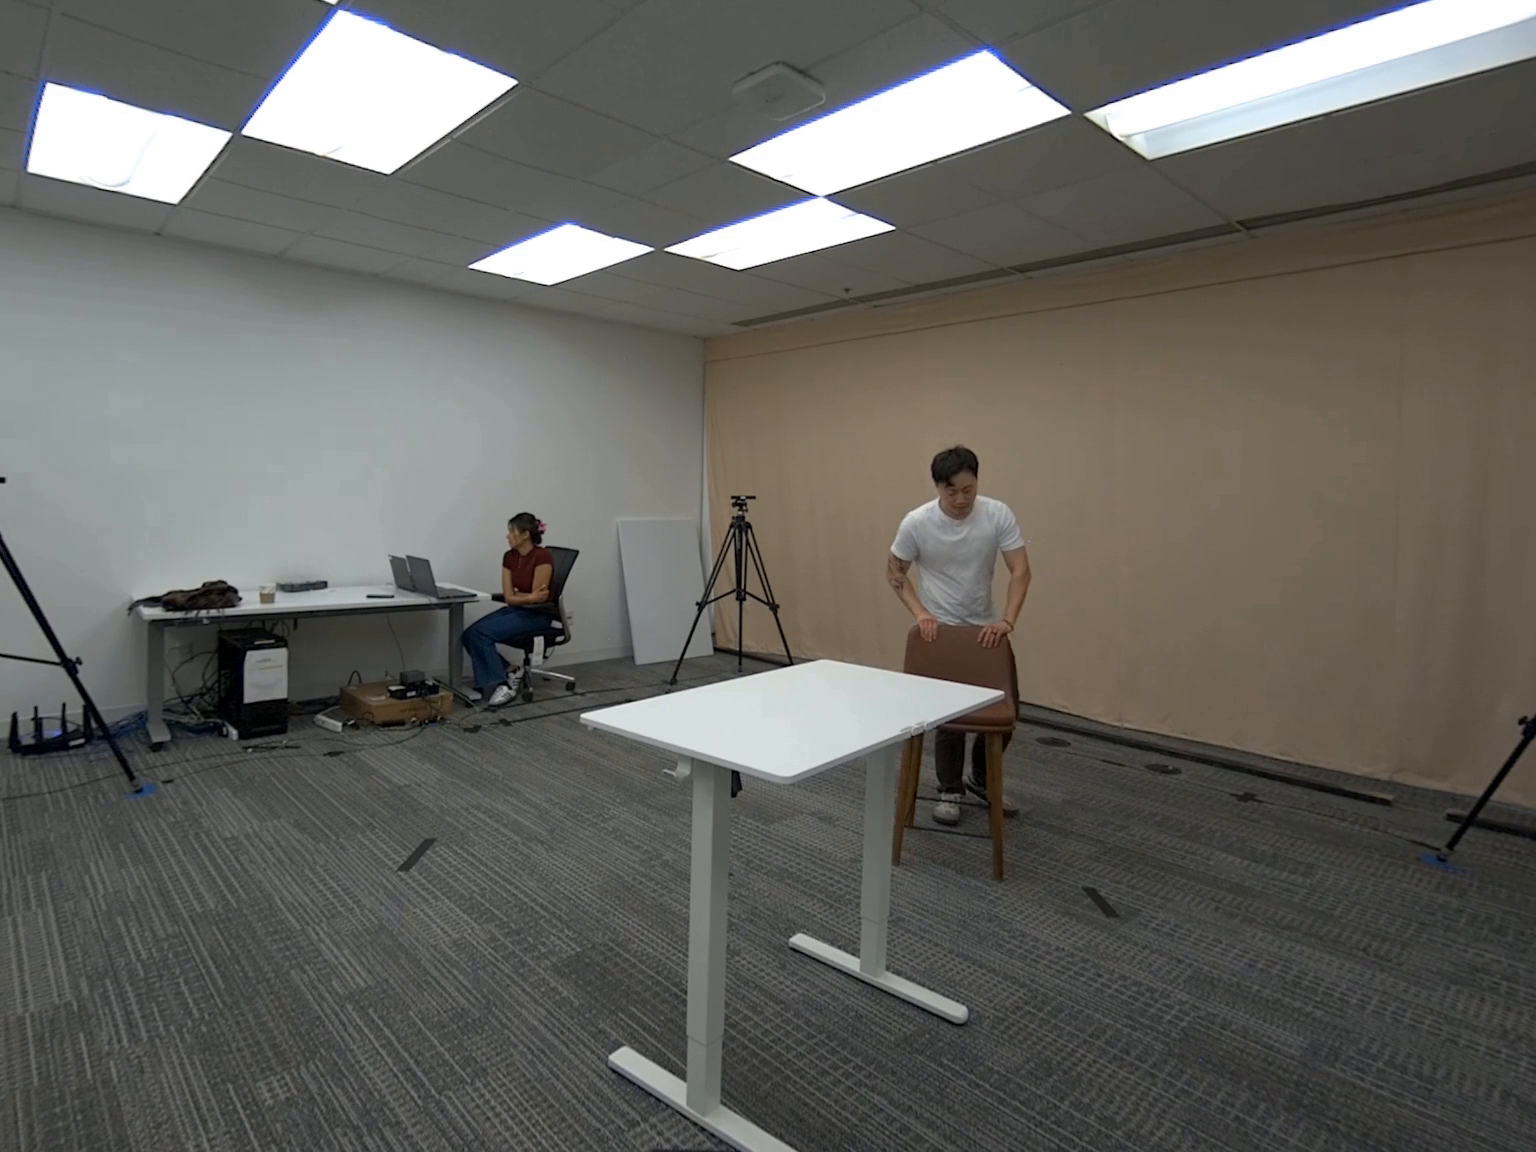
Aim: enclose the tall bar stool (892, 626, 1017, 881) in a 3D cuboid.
[{"bbox_3d":[0.735,0.665,3.365,0.463,0.889,0.461,3,1,17],"label":"tall bar stool"}]
